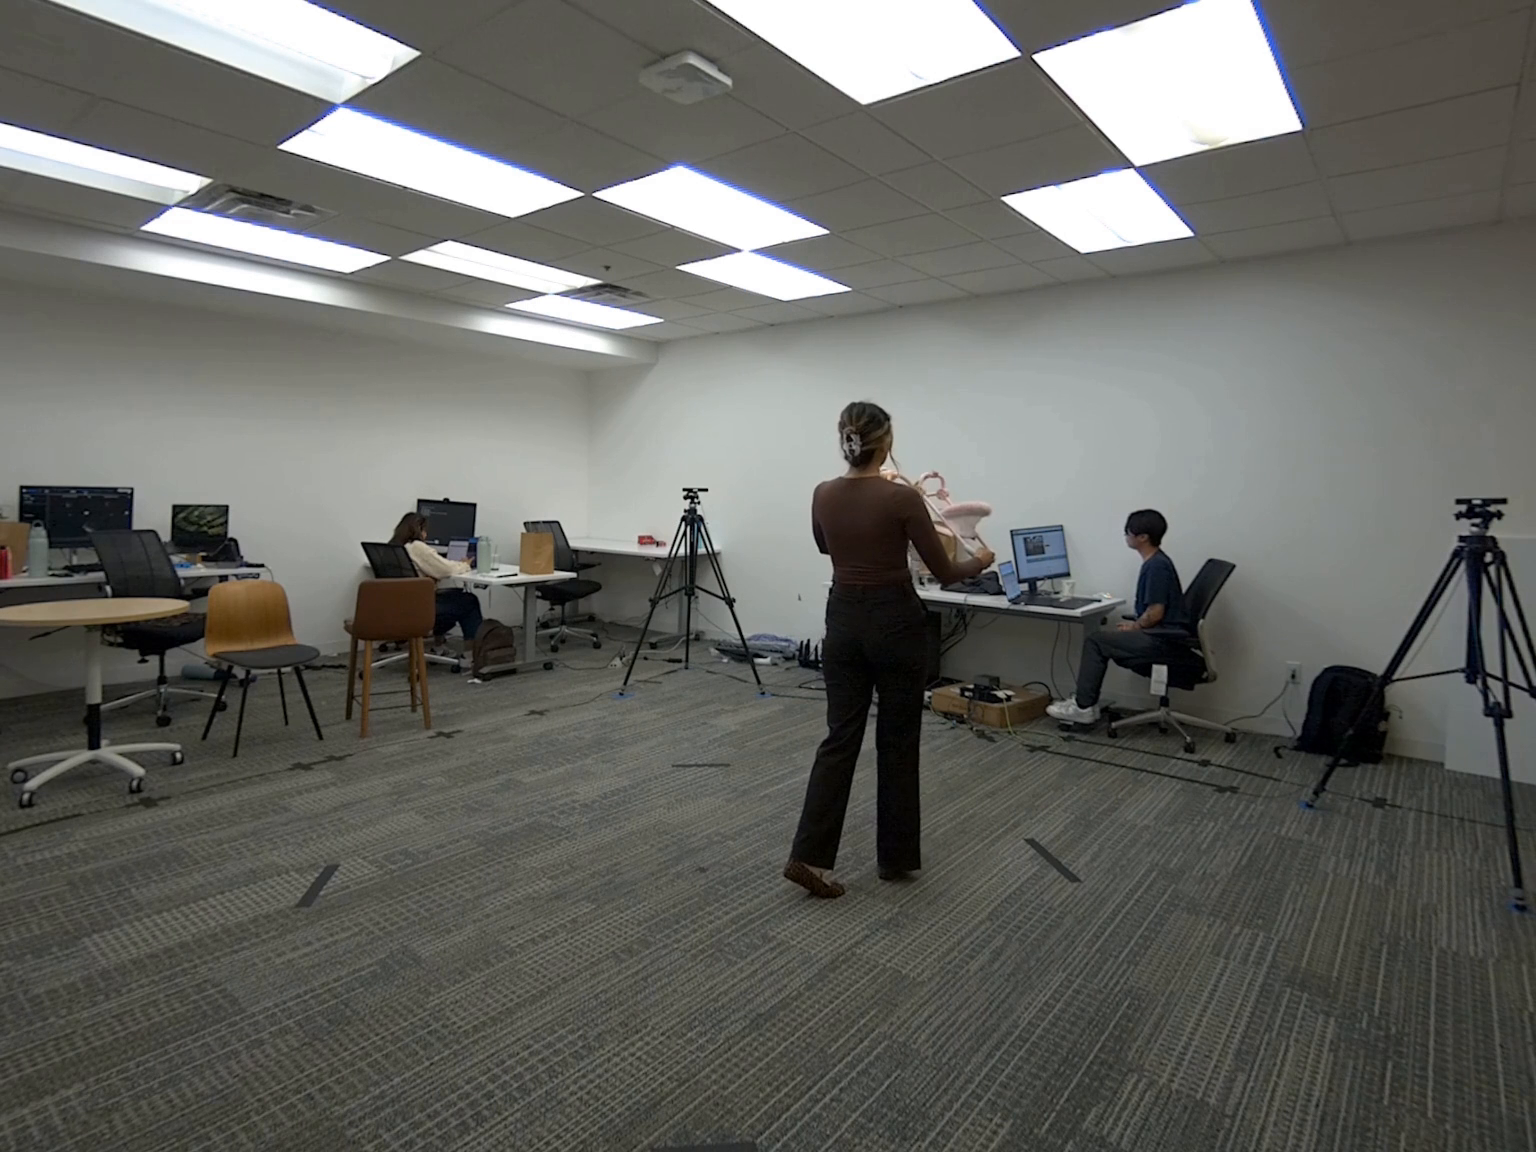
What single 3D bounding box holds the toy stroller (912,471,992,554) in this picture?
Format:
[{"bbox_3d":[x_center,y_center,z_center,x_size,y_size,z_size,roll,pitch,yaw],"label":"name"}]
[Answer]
[{"bbox_3d":[0.654,-0.259,3.445,0.555,0.341,0.271,11,2,42],"label":"toy stroller"}]
